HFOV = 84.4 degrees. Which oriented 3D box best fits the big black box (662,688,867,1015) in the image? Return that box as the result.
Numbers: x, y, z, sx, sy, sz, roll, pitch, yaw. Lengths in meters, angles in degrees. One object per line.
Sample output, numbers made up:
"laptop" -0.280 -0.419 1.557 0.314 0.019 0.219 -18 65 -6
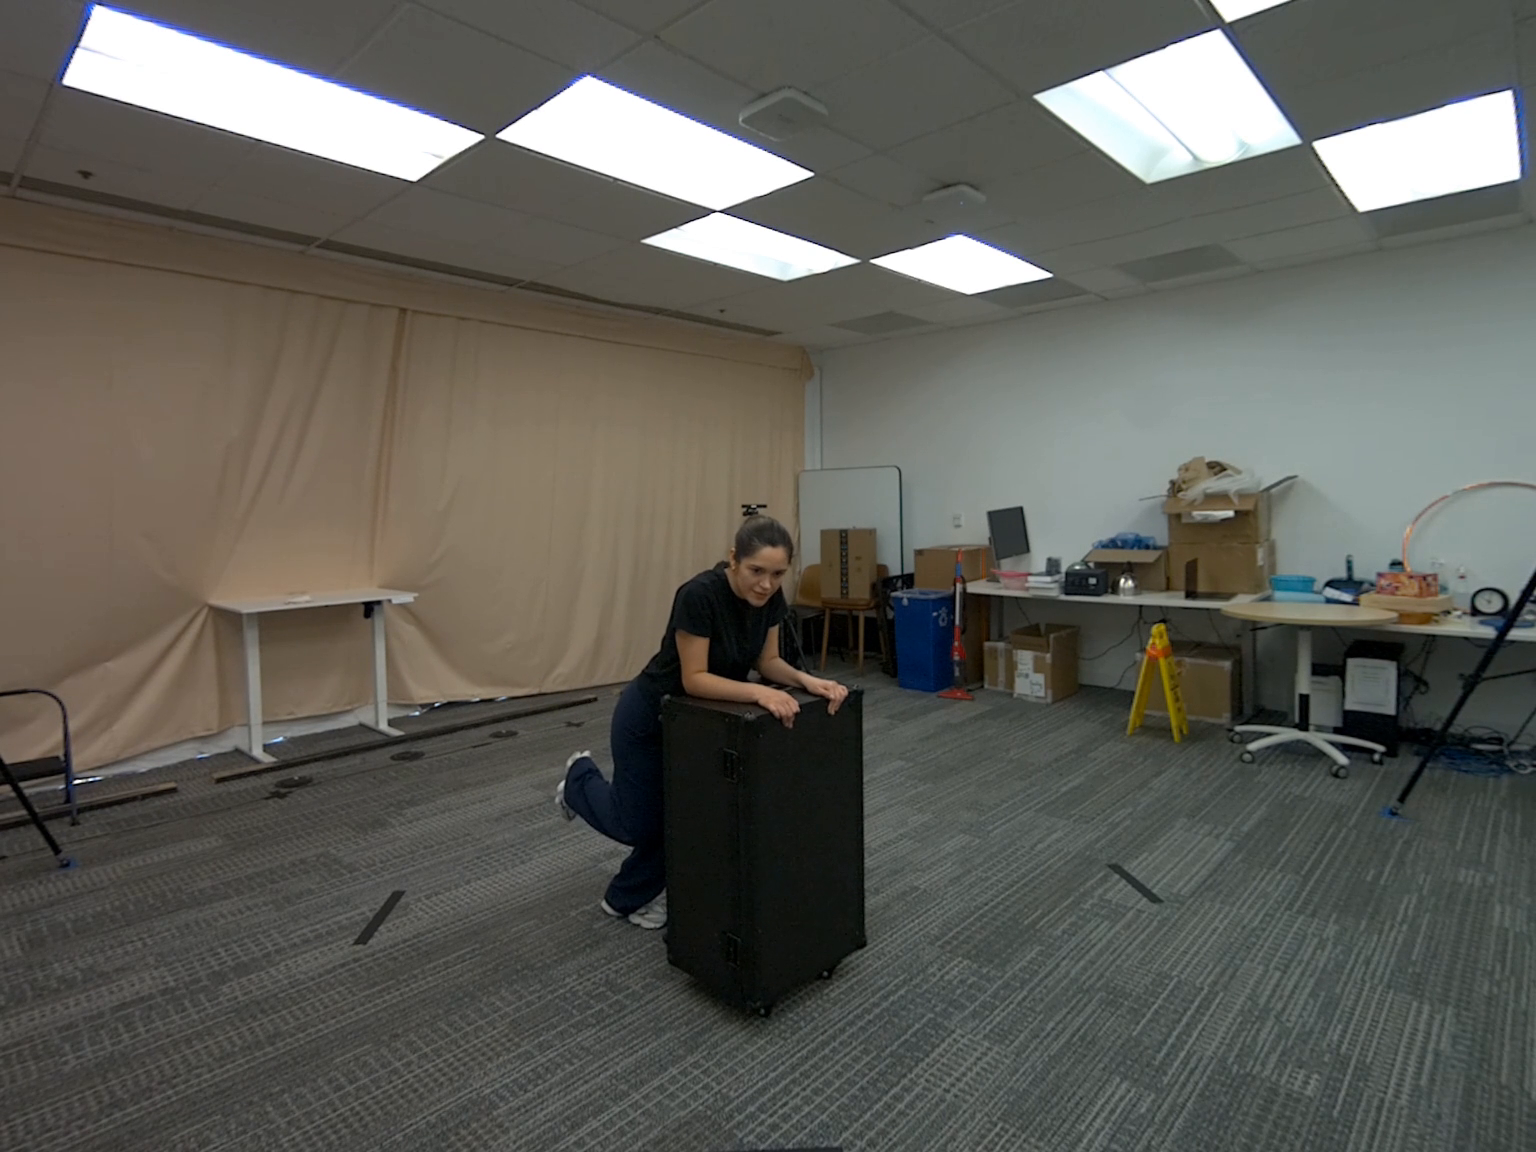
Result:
"big black box" 0.011 0.704 2.462 0.409 0.859 0.505 3 6 44
